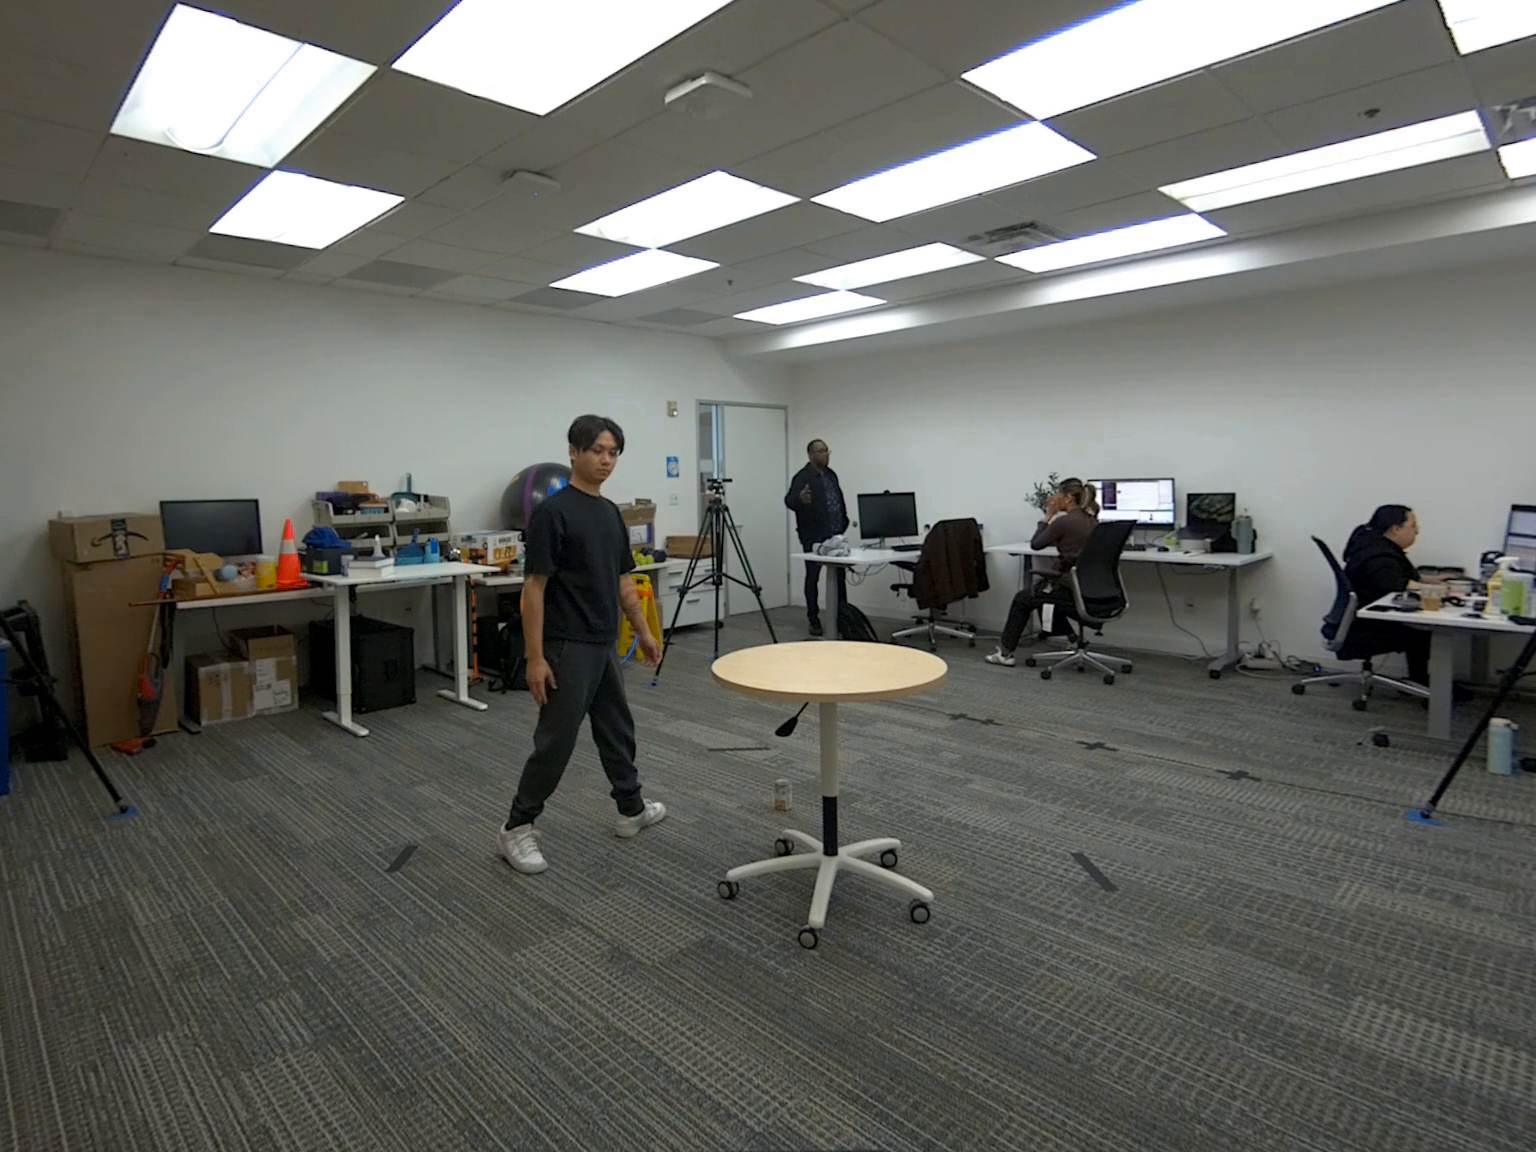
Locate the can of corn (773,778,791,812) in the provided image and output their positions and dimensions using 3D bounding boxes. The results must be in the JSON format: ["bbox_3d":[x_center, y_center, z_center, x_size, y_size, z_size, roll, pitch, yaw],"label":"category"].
[{"bbox_3d":[0.067,0.933,3.628,0.074,0.110,0.074,-2,4,-2],"label":"can of corn"}]
